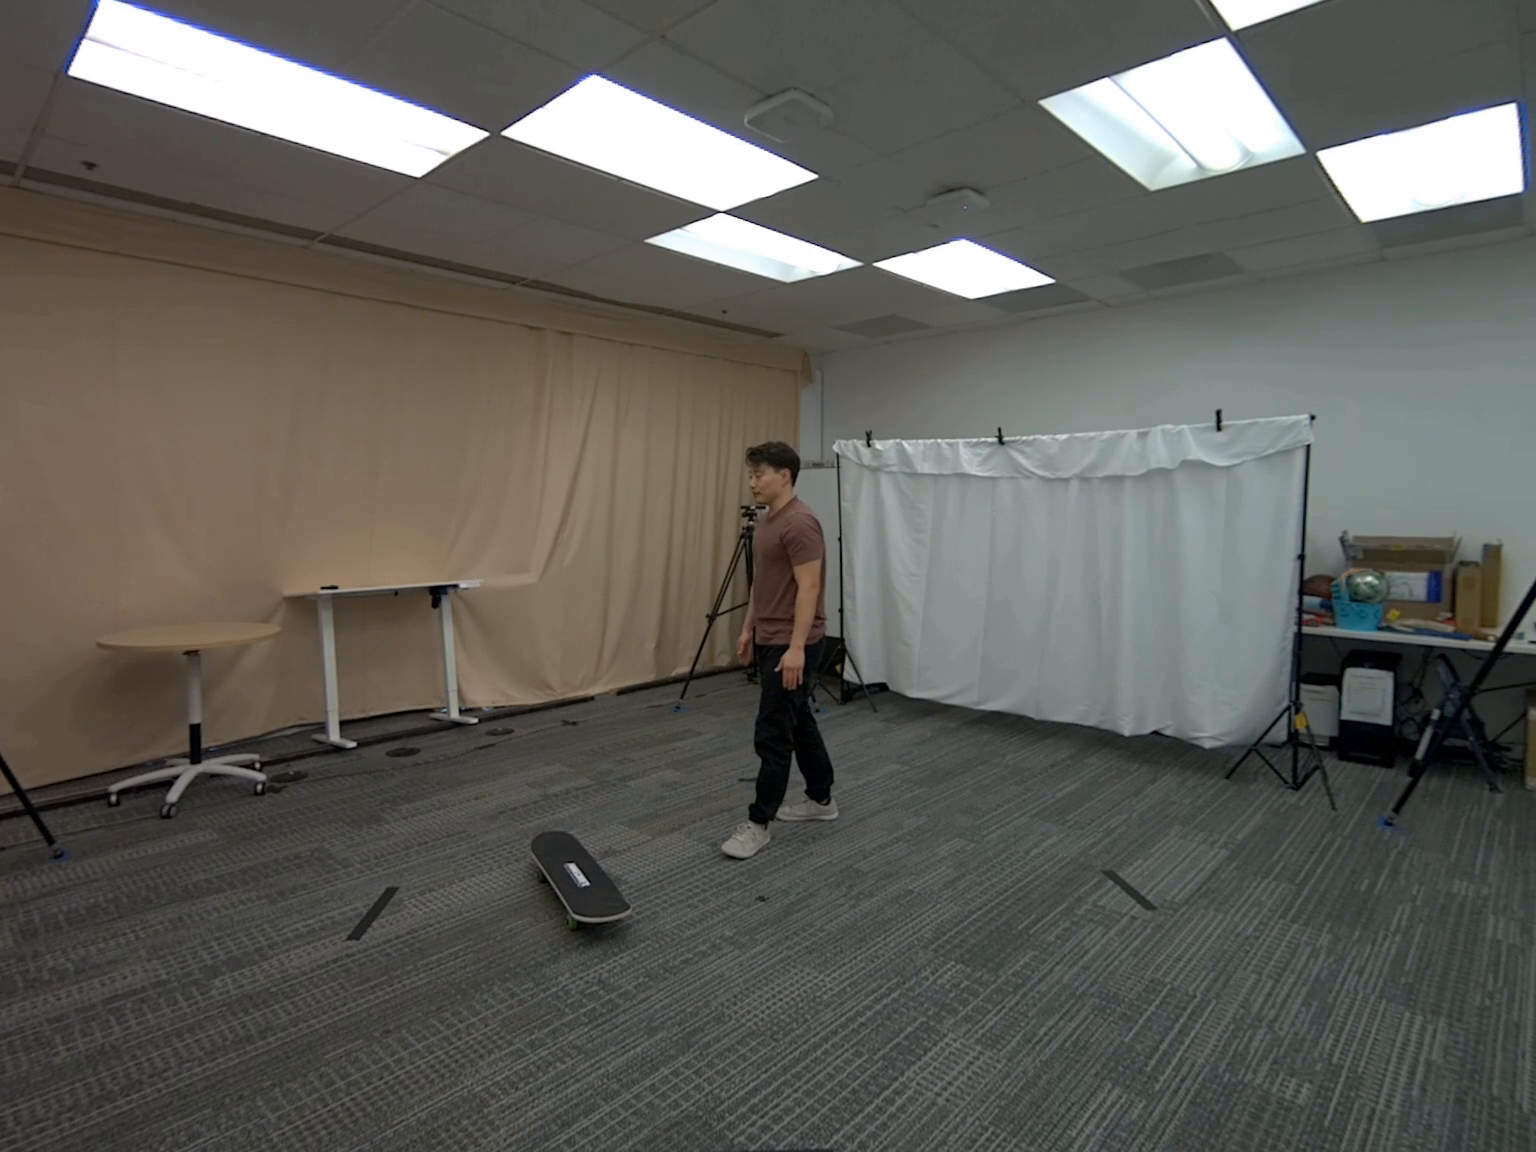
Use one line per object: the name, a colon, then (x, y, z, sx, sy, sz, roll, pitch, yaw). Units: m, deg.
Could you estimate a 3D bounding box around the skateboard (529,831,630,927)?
skateboard: (-0.677, 1.090, 2.988, 0.188, 0.110, 0.807, -3, 5, -28)
